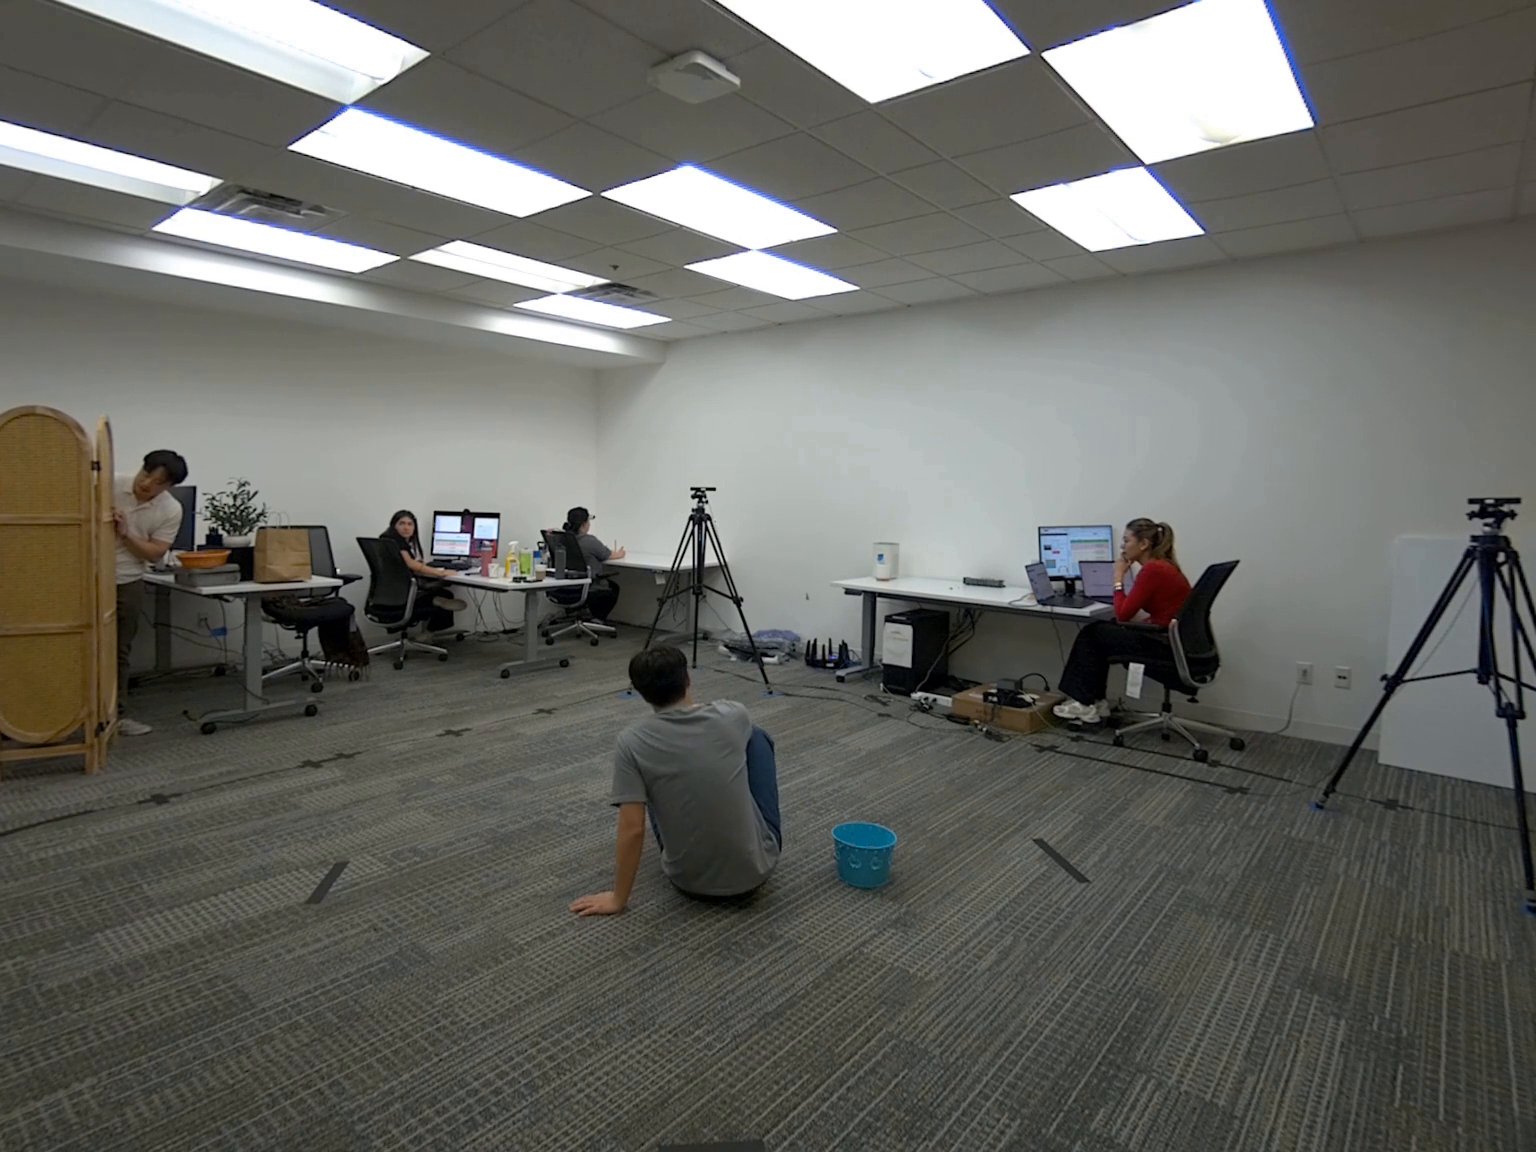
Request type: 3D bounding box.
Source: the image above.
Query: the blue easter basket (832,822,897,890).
[{"bbox_3d":[0.339,1.004,3.077,0.243,0.155,0.245,1,6,-2],"label":"blue easter basket"}]
